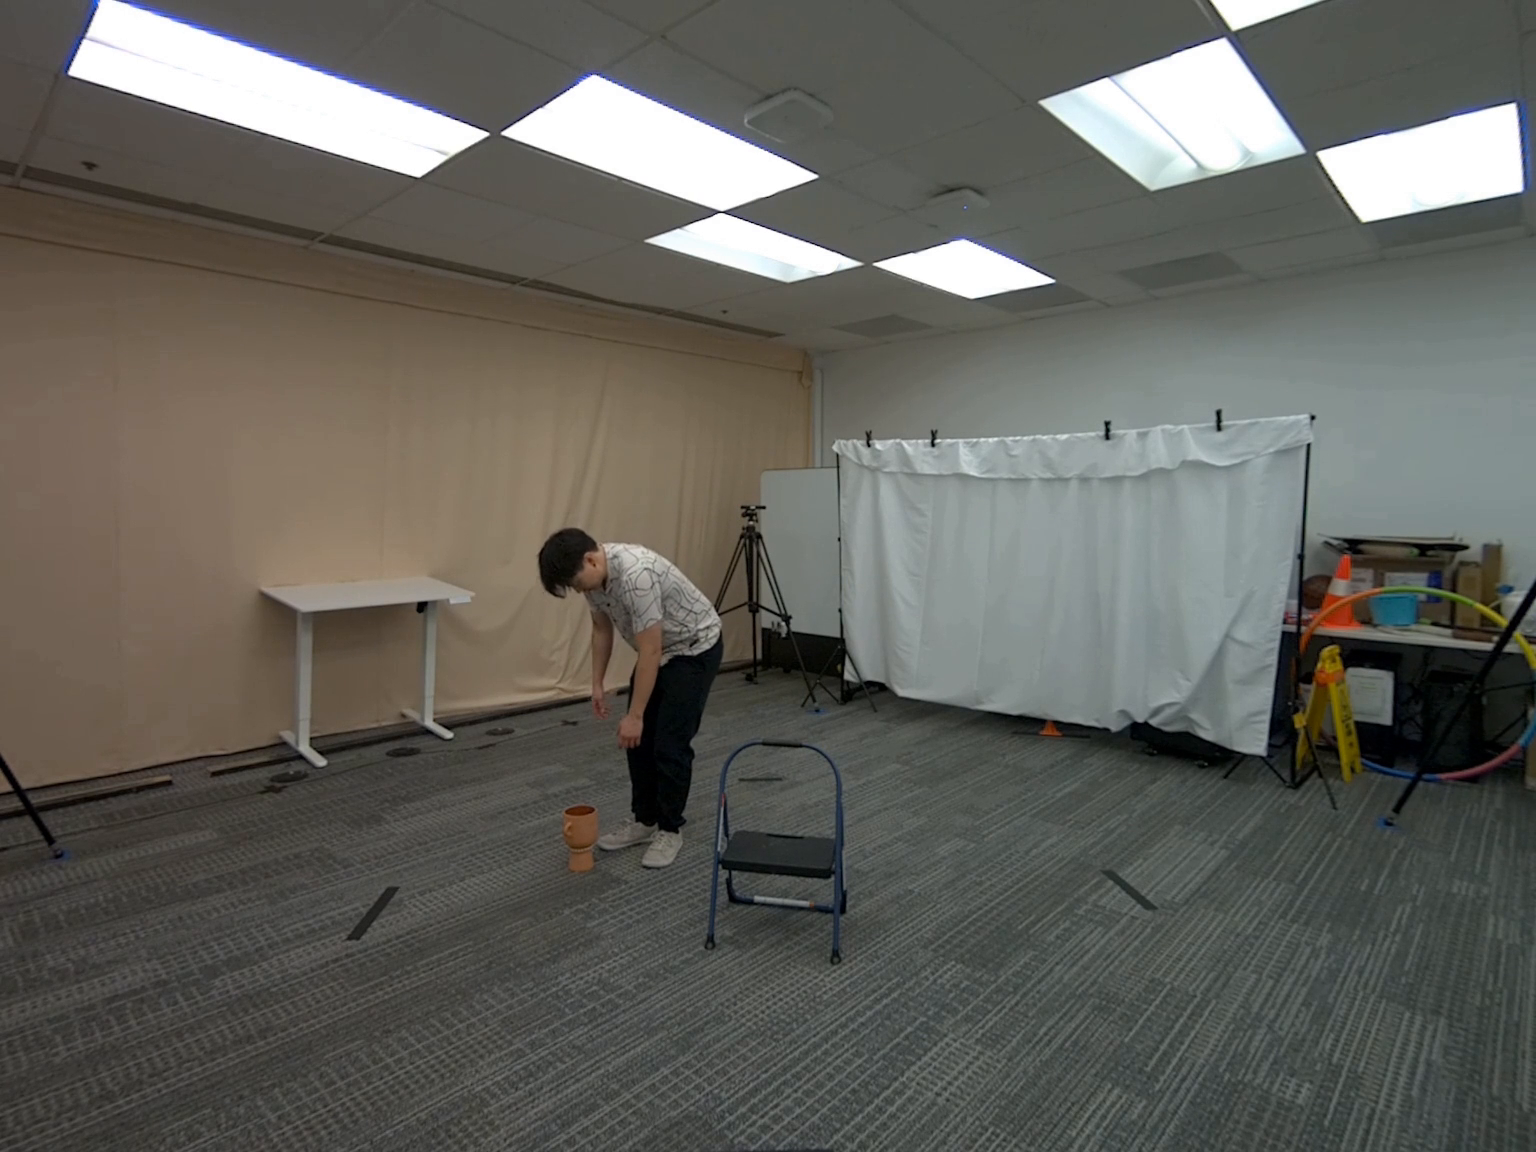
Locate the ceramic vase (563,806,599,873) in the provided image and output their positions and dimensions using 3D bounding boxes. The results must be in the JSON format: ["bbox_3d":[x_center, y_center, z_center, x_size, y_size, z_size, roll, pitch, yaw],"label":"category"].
[{"bbox_3d":[-0.724,1.014,3.255,0.155,0.219,0.138,-2,3,-26],"label":"ceramic vase"}]
